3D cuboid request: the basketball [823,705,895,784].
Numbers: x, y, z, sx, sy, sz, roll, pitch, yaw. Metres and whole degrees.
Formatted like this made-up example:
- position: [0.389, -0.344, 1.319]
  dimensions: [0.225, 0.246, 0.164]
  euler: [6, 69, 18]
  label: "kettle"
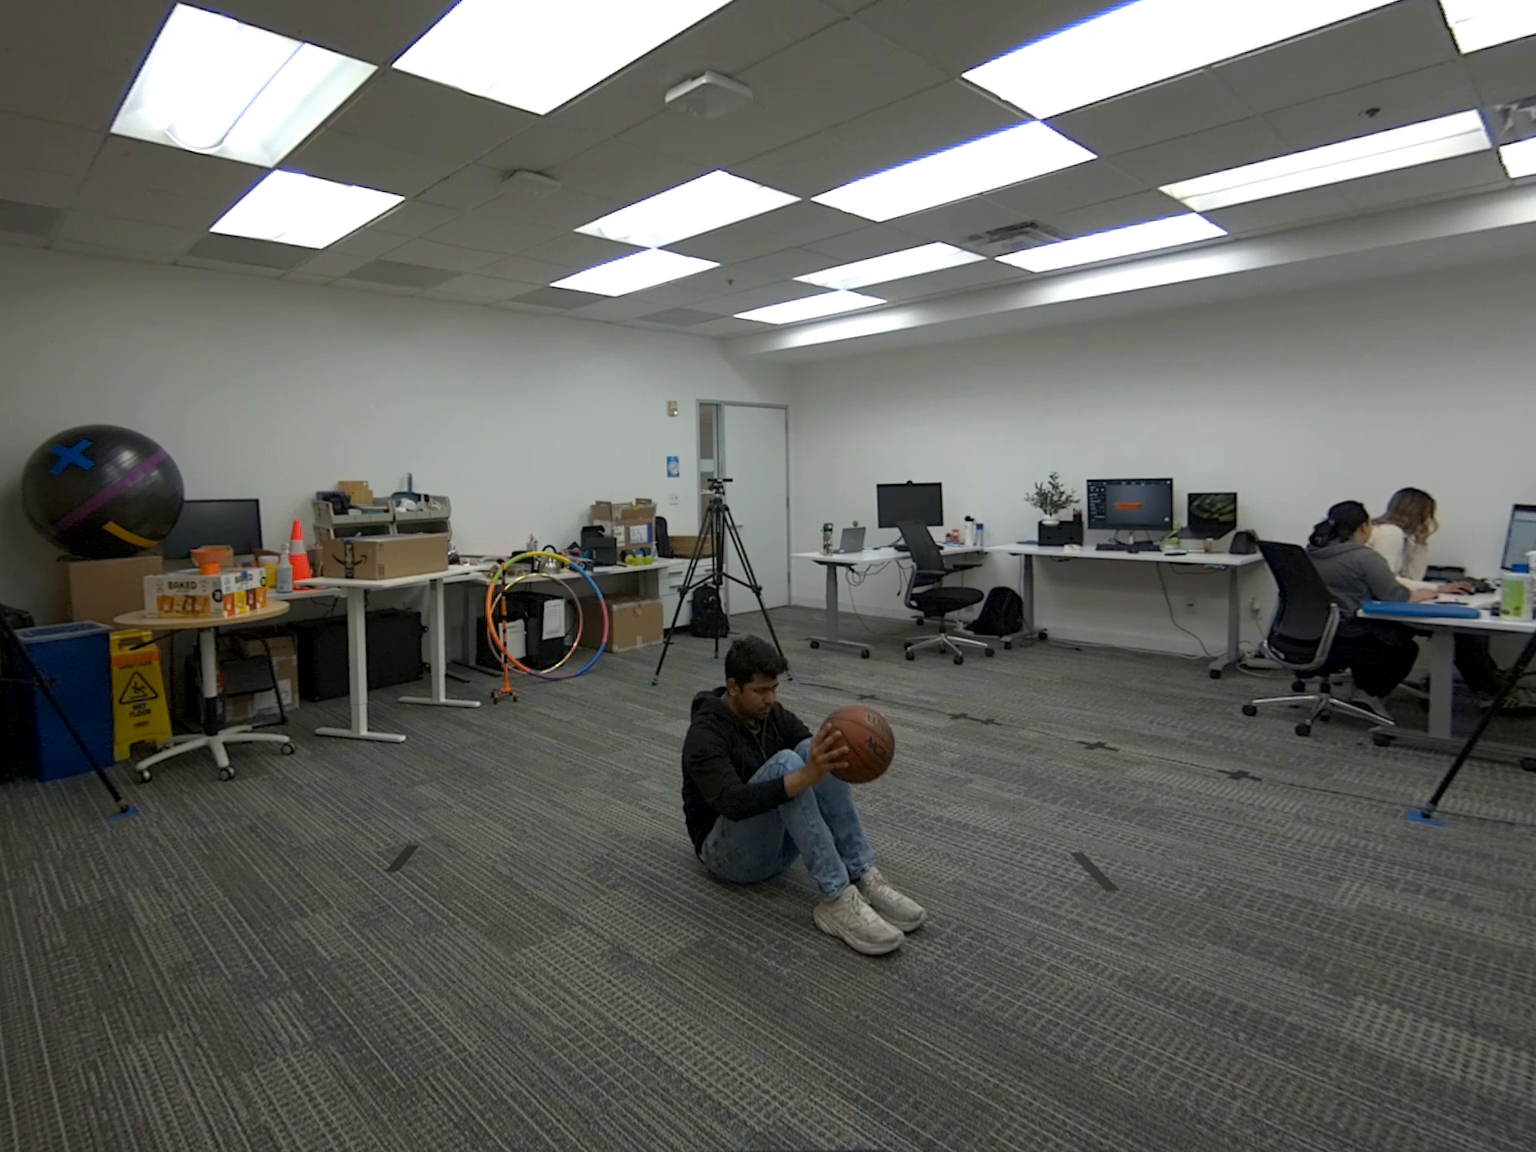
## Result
- position: [0.279, 0.533, 2.675]
  dimensions: [0.236, 0.235, 0.237]
  euler: [-1, 5, -2]
  label: "basketball"
